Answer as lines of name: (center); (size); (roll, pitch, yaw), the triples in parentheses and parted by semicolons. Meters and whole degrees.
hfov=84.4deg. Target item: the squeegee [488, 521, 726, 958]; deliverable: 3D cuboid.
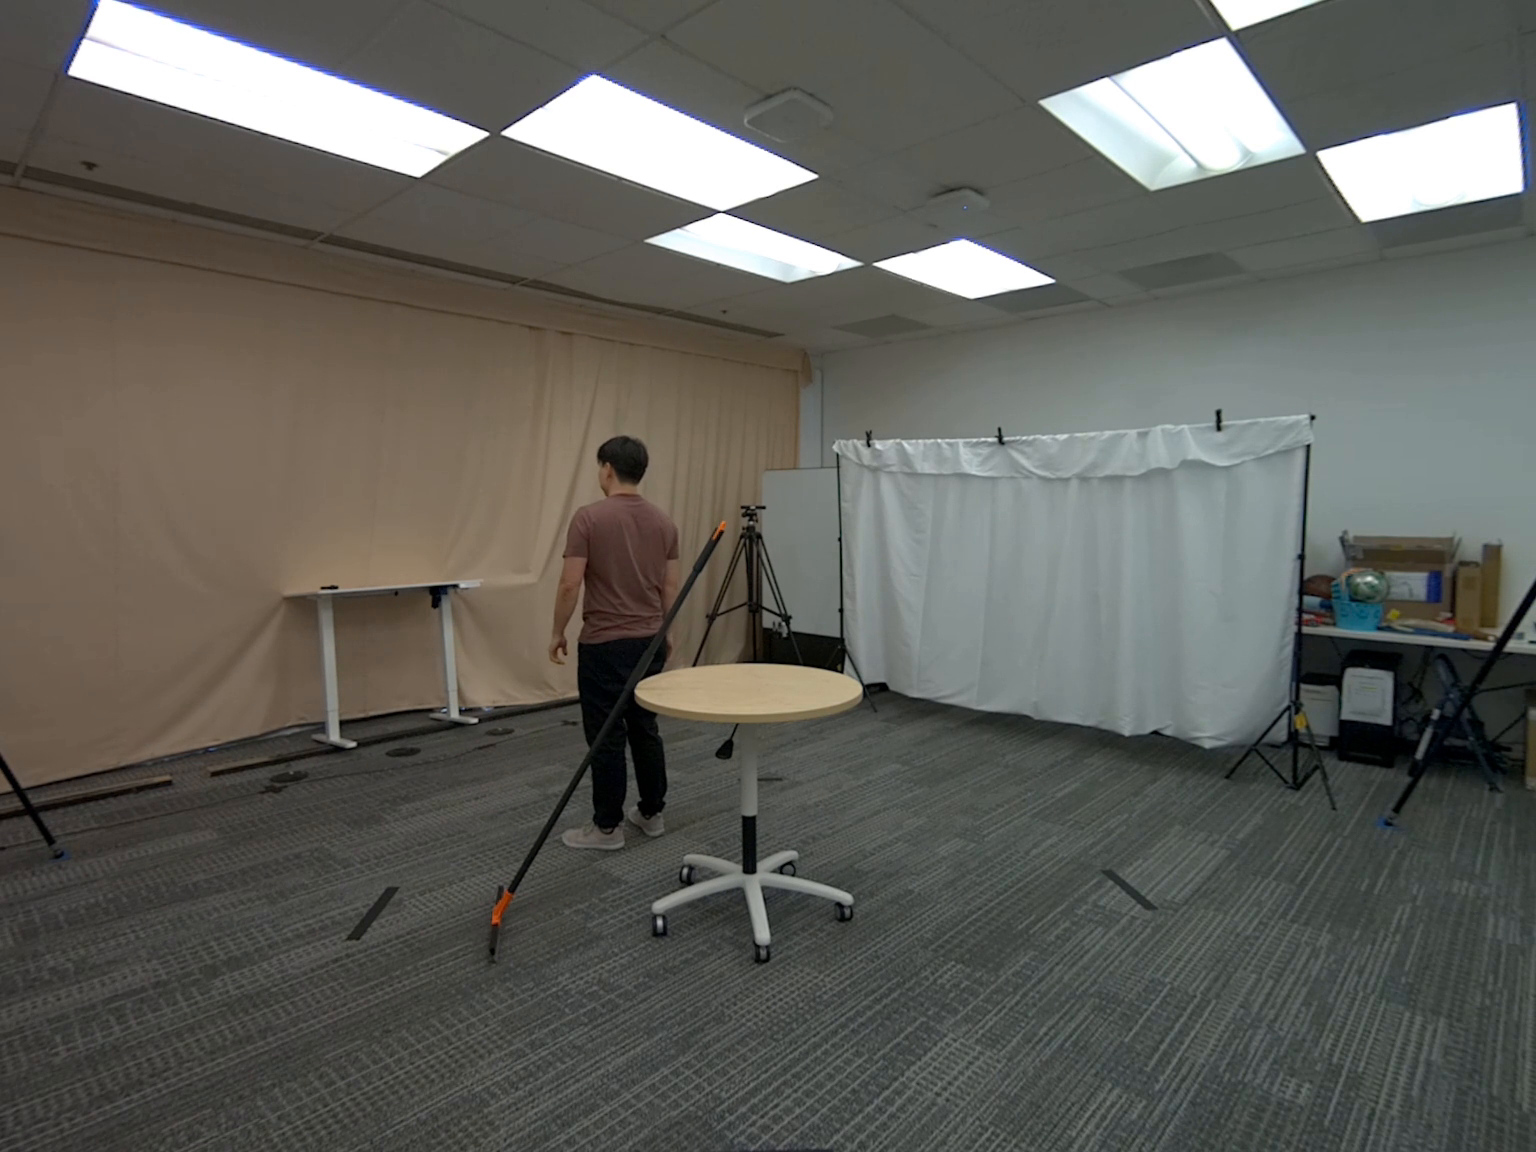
squeegee: (-0.533, 0.474, 2.812); (0.052, 1.537, 0.443); (29, -2, -12)
